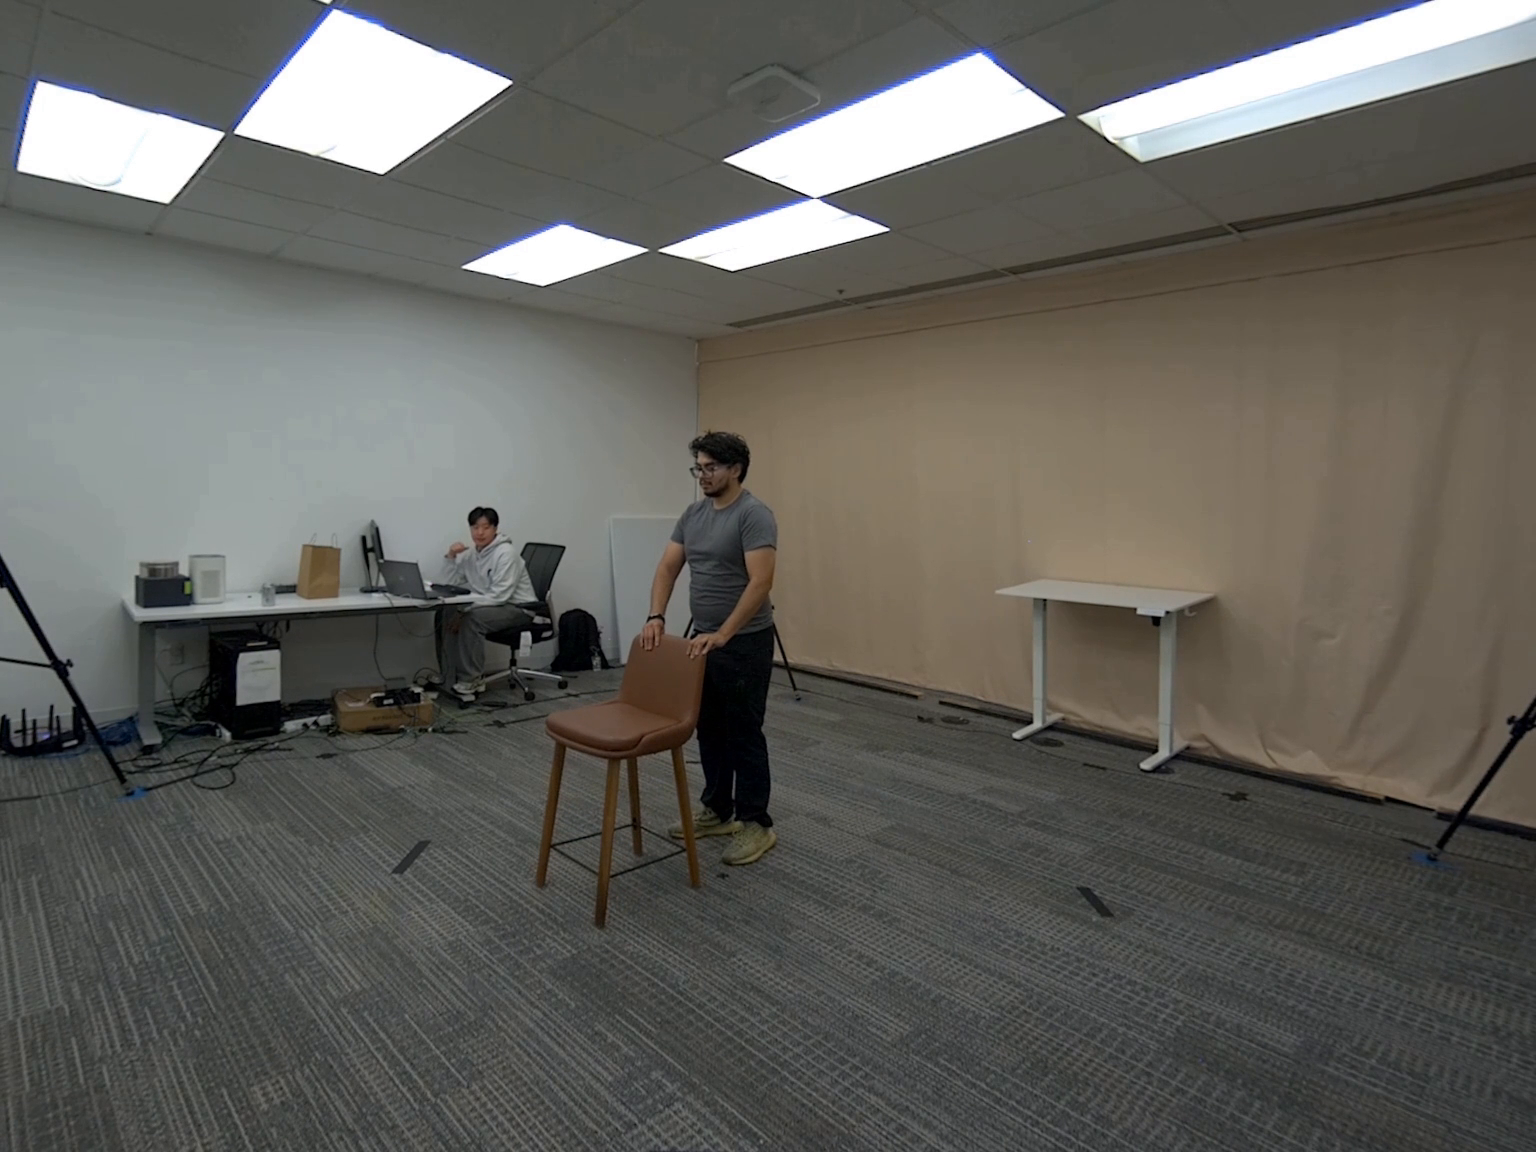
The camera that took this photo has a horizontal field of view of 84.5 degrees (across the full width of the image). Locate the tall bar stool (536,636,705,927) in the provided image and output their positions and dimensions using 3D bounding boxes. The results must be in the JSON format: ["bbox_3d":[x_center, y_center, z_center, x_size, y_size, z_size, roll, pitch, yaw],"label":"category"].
[{"bbox_3d":[-0.514,0.673,2.982,0.456,0.888,0.468,1,3,-44],"label":"tall bar stool"}]
